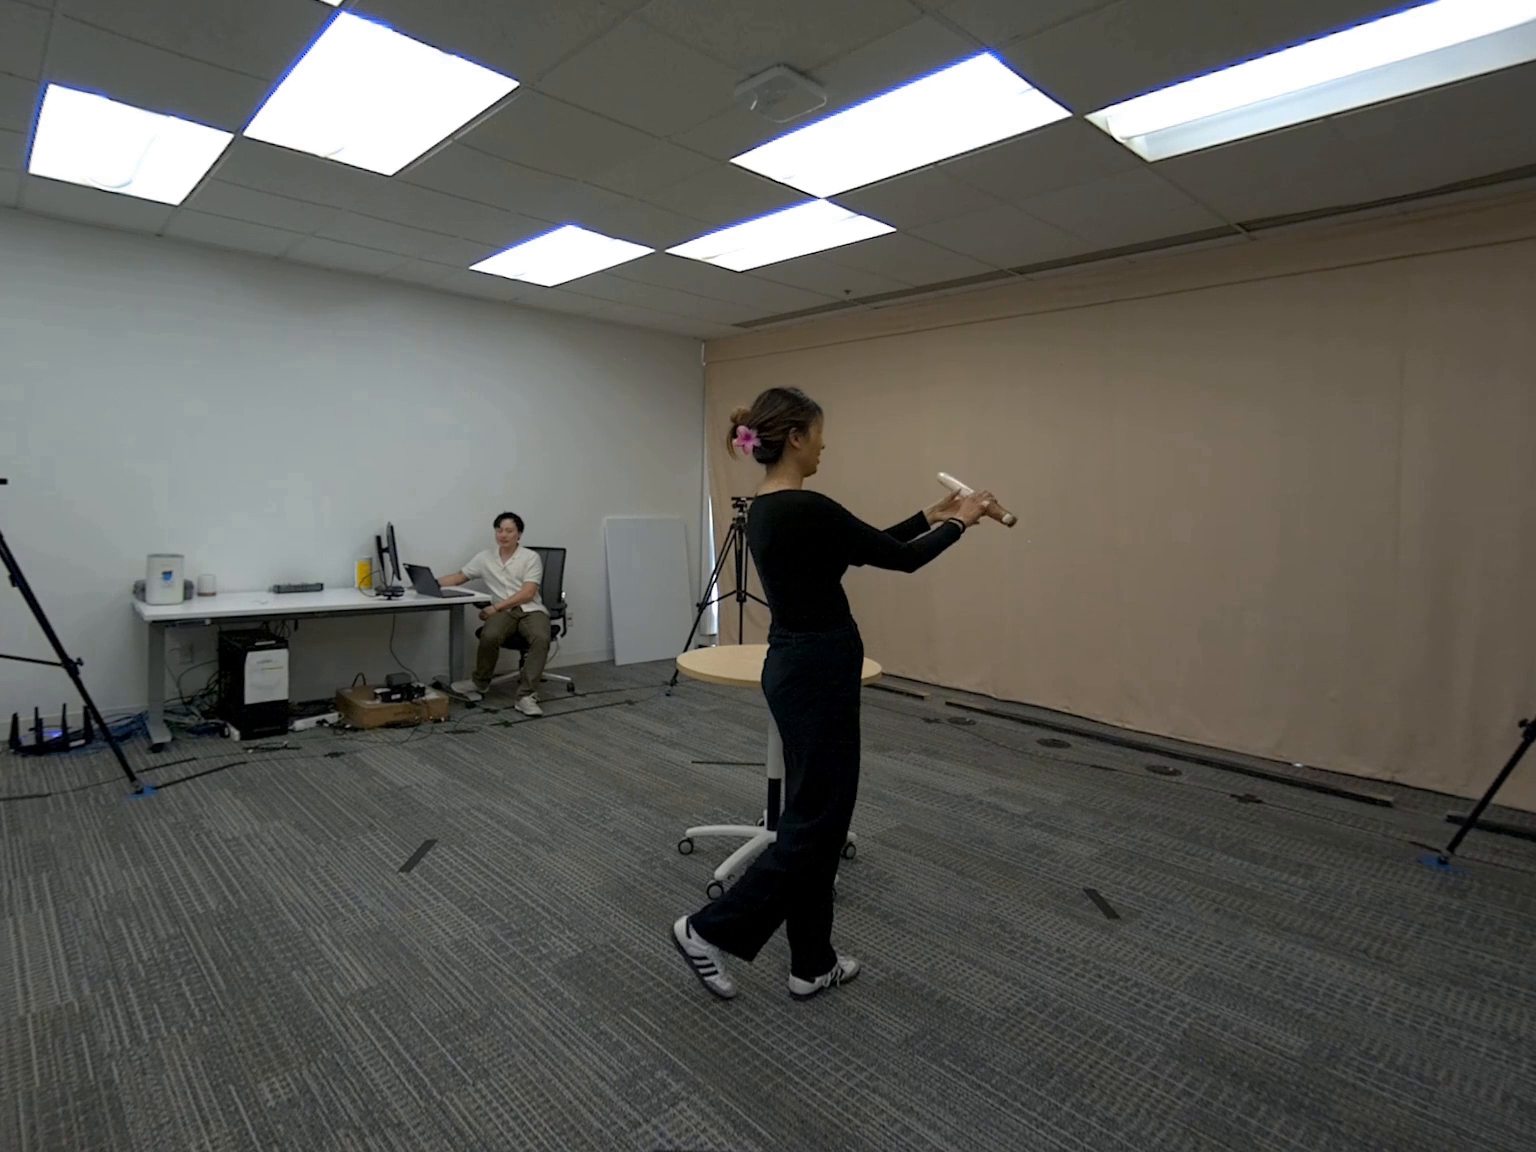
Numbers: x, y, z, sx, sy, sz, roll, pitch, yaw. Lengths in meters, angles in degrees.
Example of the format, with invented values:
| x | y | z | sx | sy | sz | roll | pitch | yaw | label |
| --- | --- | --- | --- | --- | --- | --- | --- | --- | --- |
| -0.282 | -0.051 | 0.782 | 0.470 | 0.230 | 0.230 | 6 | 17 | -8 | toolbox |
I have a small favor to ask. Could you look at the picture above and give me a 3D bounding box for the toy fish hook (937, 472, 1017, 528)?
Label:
| x | y | z | sx | sy | sz | roll | pitch | yaw | label |
| --- | --- | --- | --- | --- | --- | --- | --- | --- | --- |
| 0.648 | -0.202 | 2.484 | 0.221 | 0.048 | 0.516 | 29 | 14 | -18 | toy fish hook |
